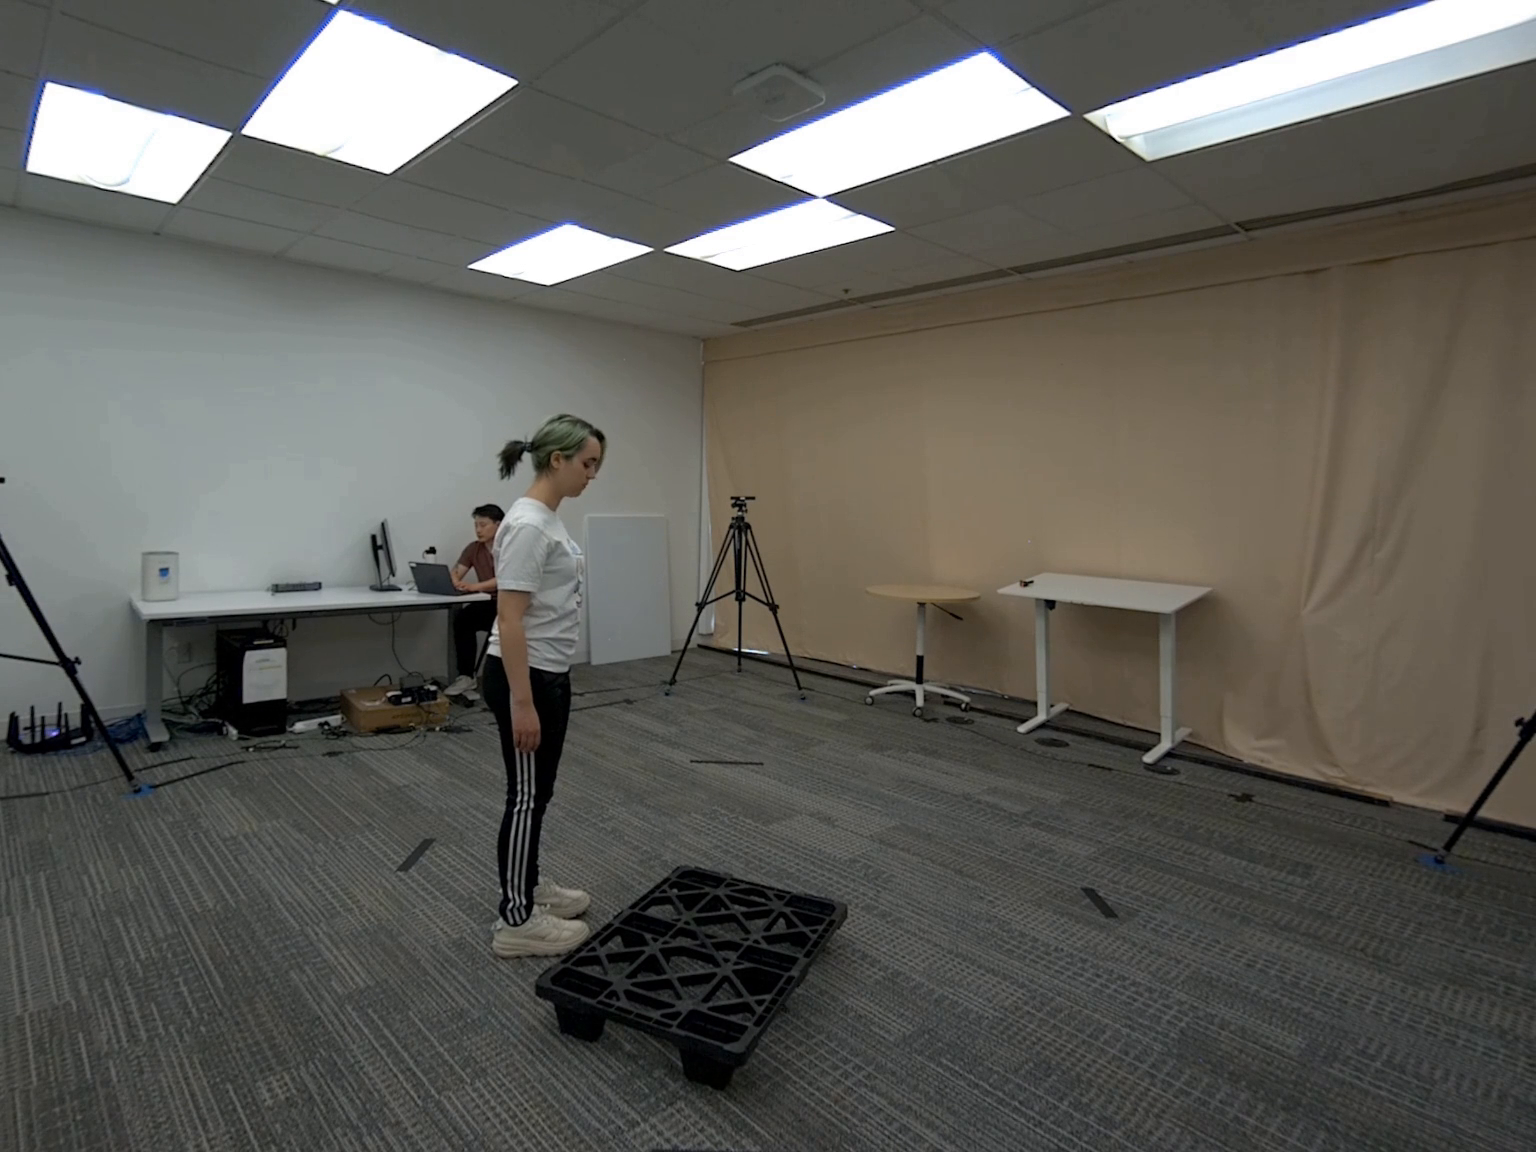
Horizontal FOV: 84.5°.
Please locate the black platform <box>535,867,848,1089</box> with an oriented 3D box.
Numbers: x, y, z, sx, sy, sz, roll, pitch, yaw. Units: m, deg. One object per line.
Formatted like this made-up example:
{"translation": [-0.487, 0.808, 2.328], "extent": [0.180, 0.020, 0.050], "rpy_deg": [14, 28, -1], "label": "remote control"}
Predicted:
{"translation": [-0.183, 1.099, 2.401], "extent": [0.617, 0.143, 0.793], "rpy_deg": [5, 6, 24], "label": "black platform"}
